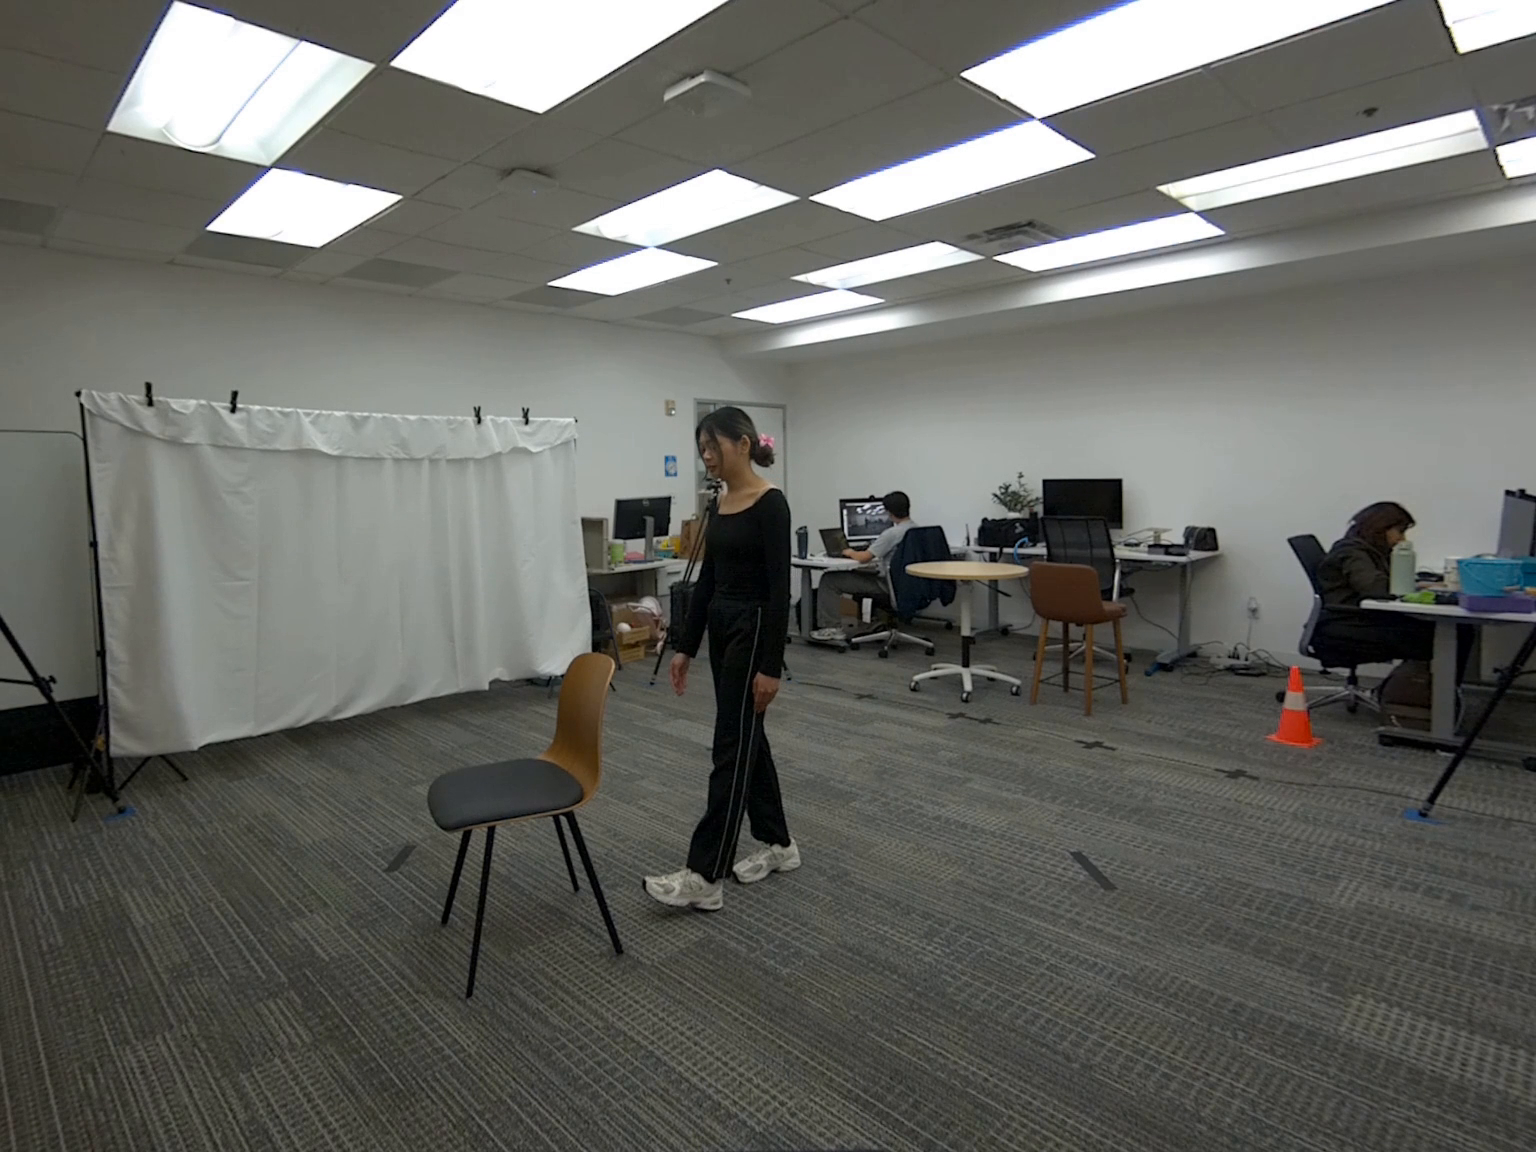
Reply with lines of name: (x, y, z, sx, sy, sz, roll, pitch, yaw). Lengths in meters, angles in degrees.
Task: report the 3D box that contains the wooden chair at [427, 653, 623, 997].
wooden chair: (-0.744, 0.688, 2.584, 0.510, 0.875, 0.491, 1, 3, -28)
